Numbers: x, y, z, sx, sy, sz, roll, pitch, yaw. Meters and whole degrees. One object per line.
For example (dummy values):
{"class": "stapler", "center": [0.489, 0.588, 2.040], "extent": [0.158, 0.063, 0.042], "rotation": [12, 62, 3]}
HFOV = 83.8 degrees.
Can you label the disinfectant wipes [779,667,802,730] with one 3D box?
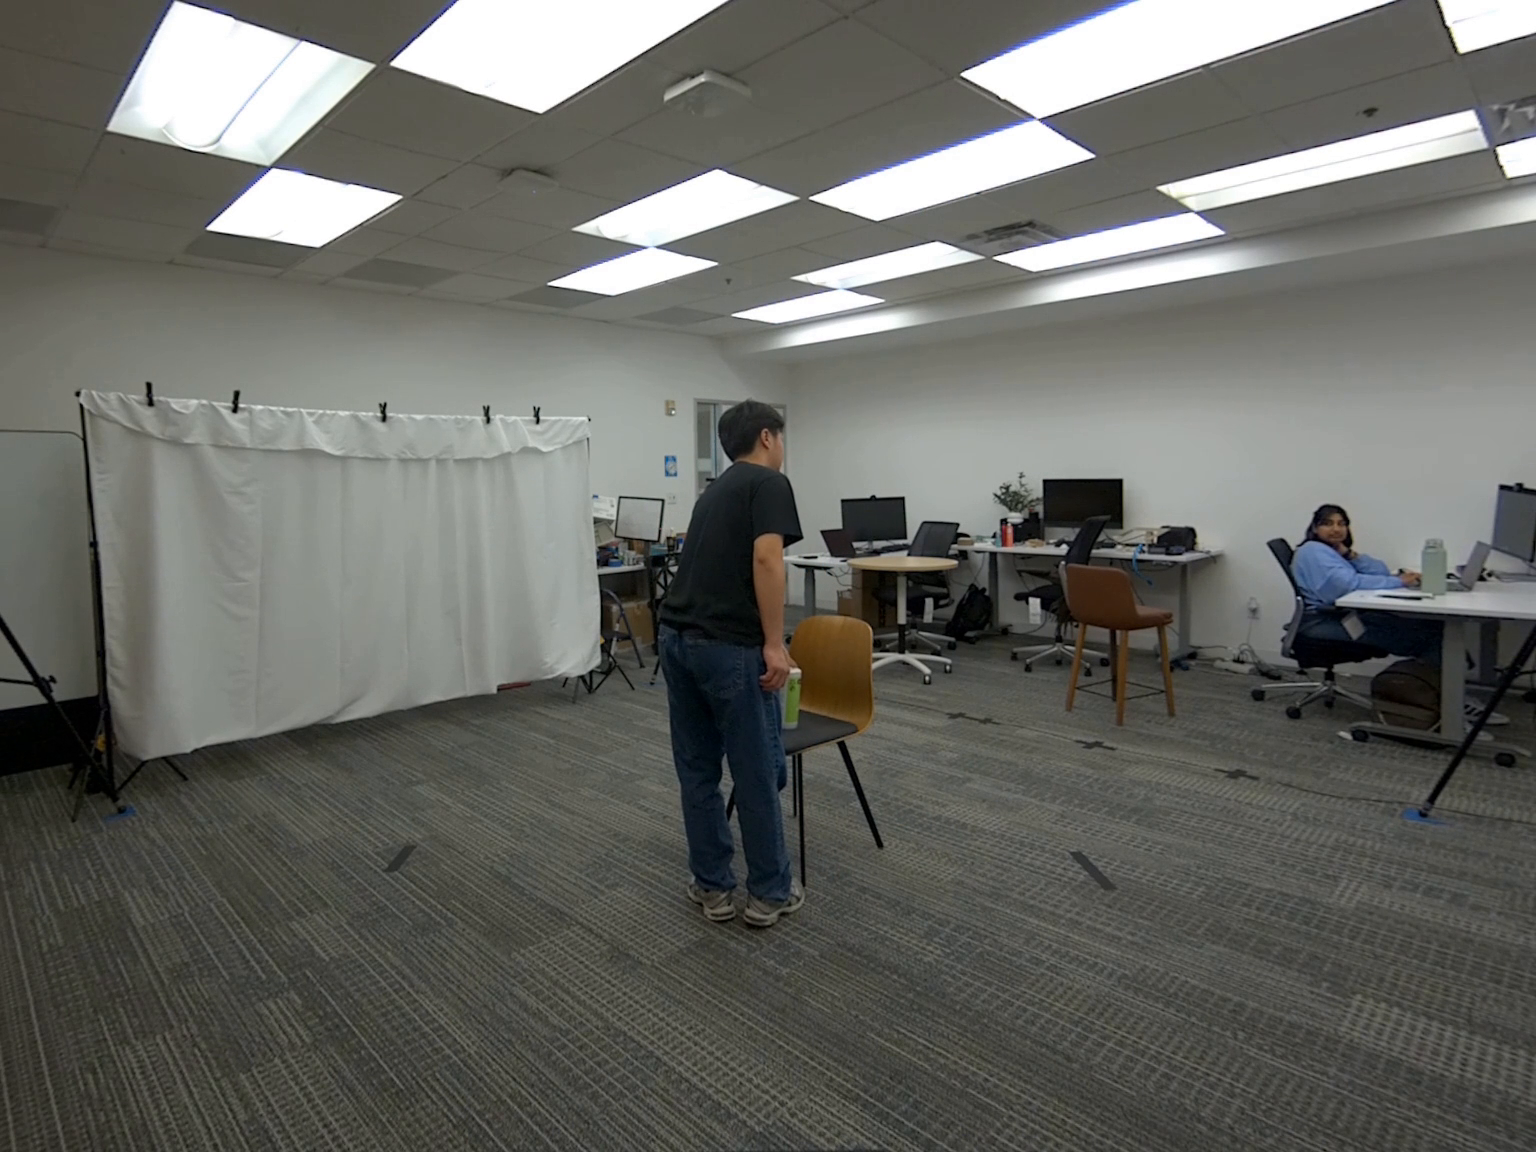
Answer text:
{"class": "disinfectant wipes", "center": [0.060, 0.452, 3.174], "extent": [0.118, 0.217, 0.118], "rotation": [4, 1, -2]}
